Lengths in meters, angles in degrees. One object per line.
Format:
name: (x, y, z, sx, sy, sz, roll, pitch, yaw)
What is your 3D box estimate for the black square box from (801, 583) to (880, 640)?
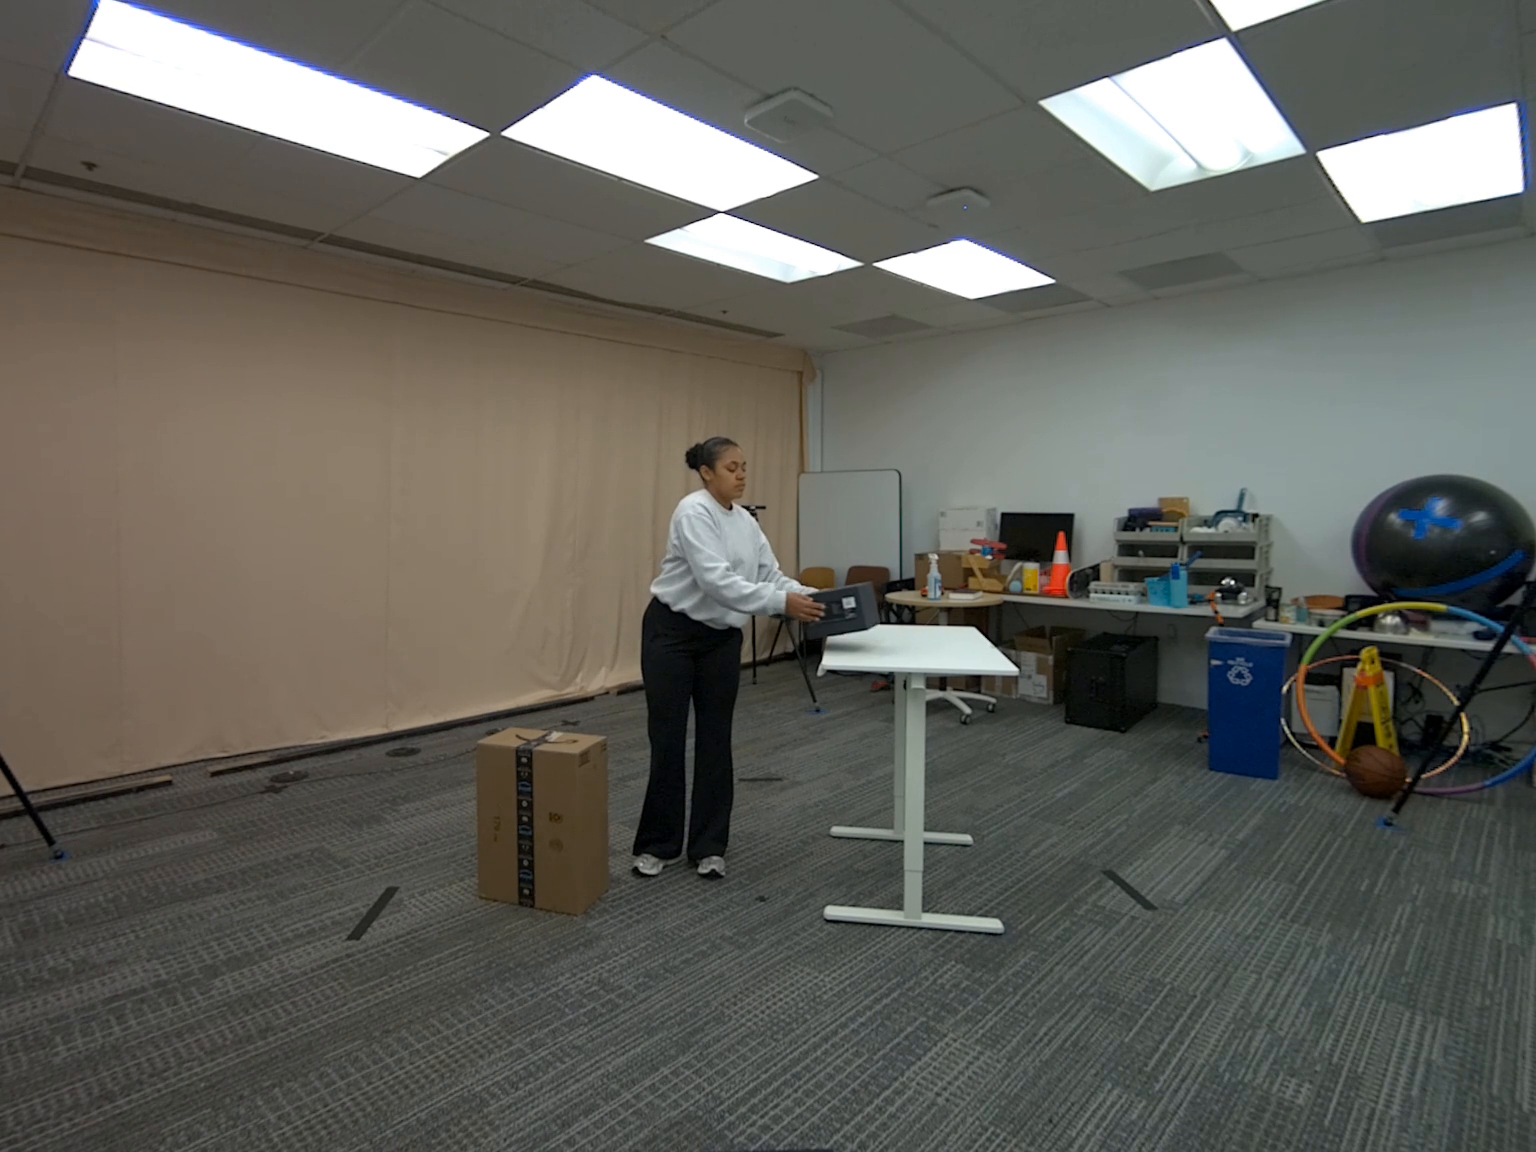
black square box: (0.242, 0.129, 2.977, 0.221, 0.156, 0.223, -10, -1, 23)
